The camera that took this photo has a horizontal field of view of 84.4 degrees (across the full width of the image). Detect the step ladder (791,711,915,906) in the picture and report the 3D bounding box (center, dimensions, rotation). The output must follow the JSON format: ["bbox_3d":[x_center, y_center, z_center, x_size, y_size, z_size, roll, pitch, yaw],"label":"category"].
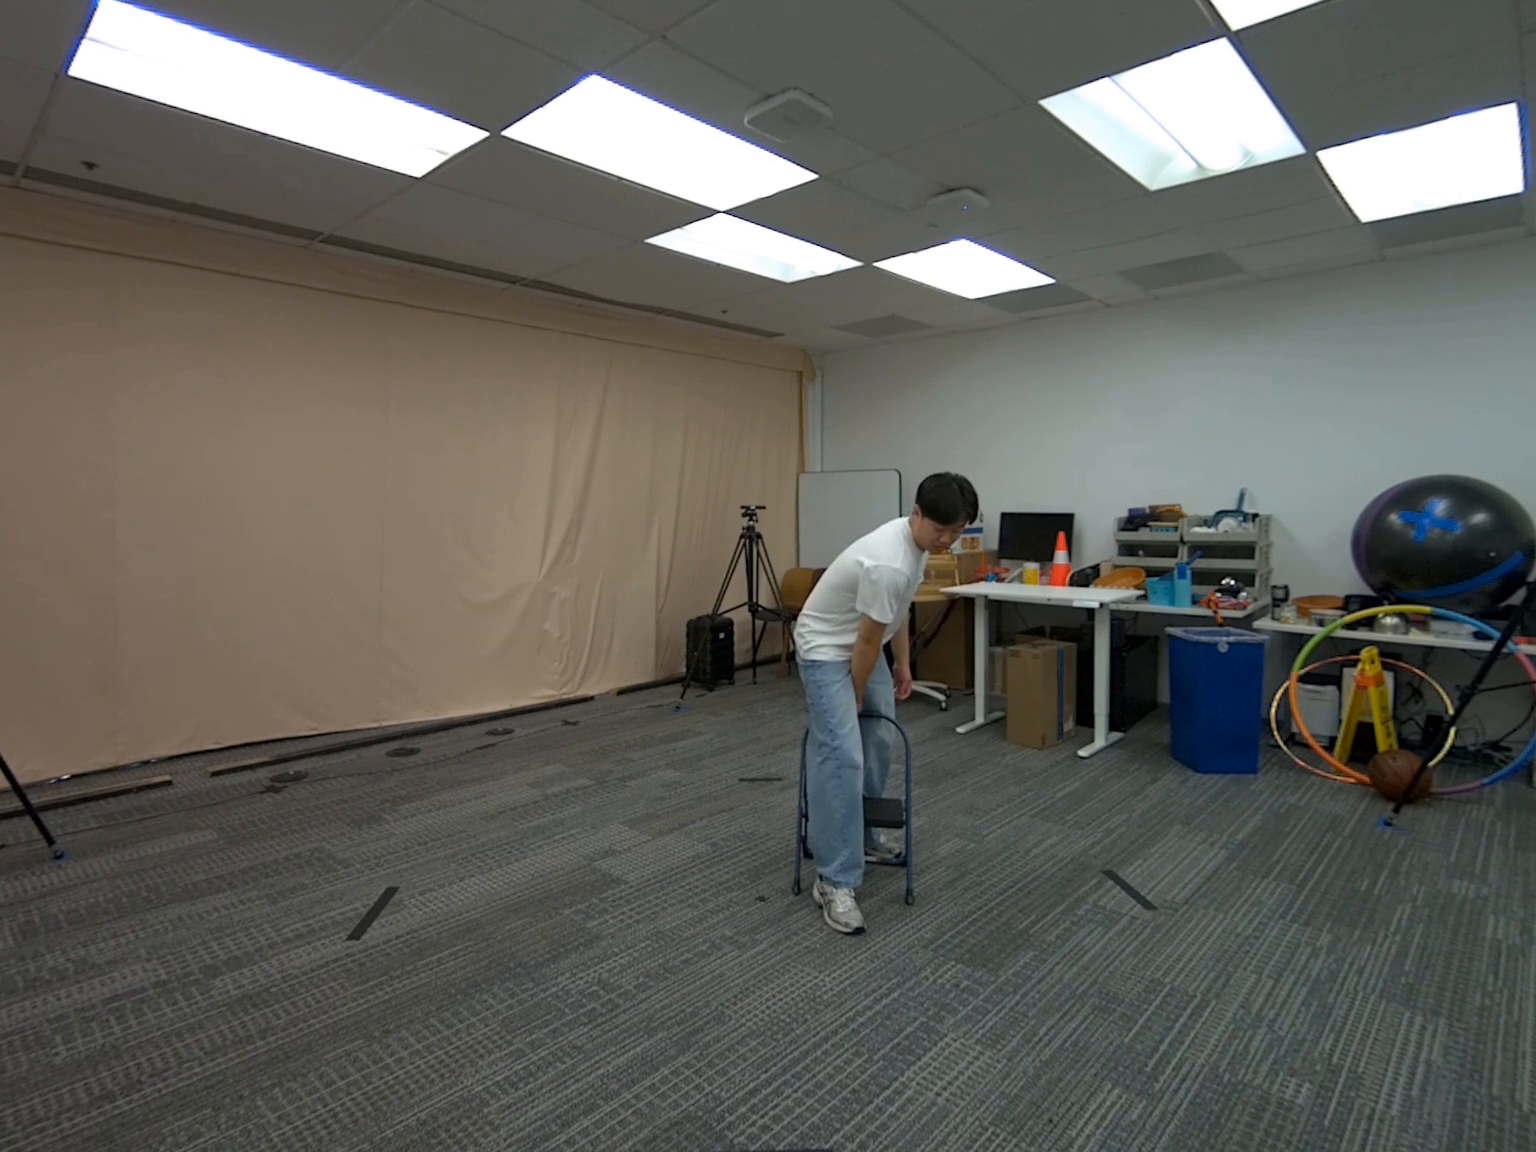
[{"bbox_3d":[0.331,0.828,3.136,0.435,0.606,0.346,1,1,9],"label":"step ladder"}]
